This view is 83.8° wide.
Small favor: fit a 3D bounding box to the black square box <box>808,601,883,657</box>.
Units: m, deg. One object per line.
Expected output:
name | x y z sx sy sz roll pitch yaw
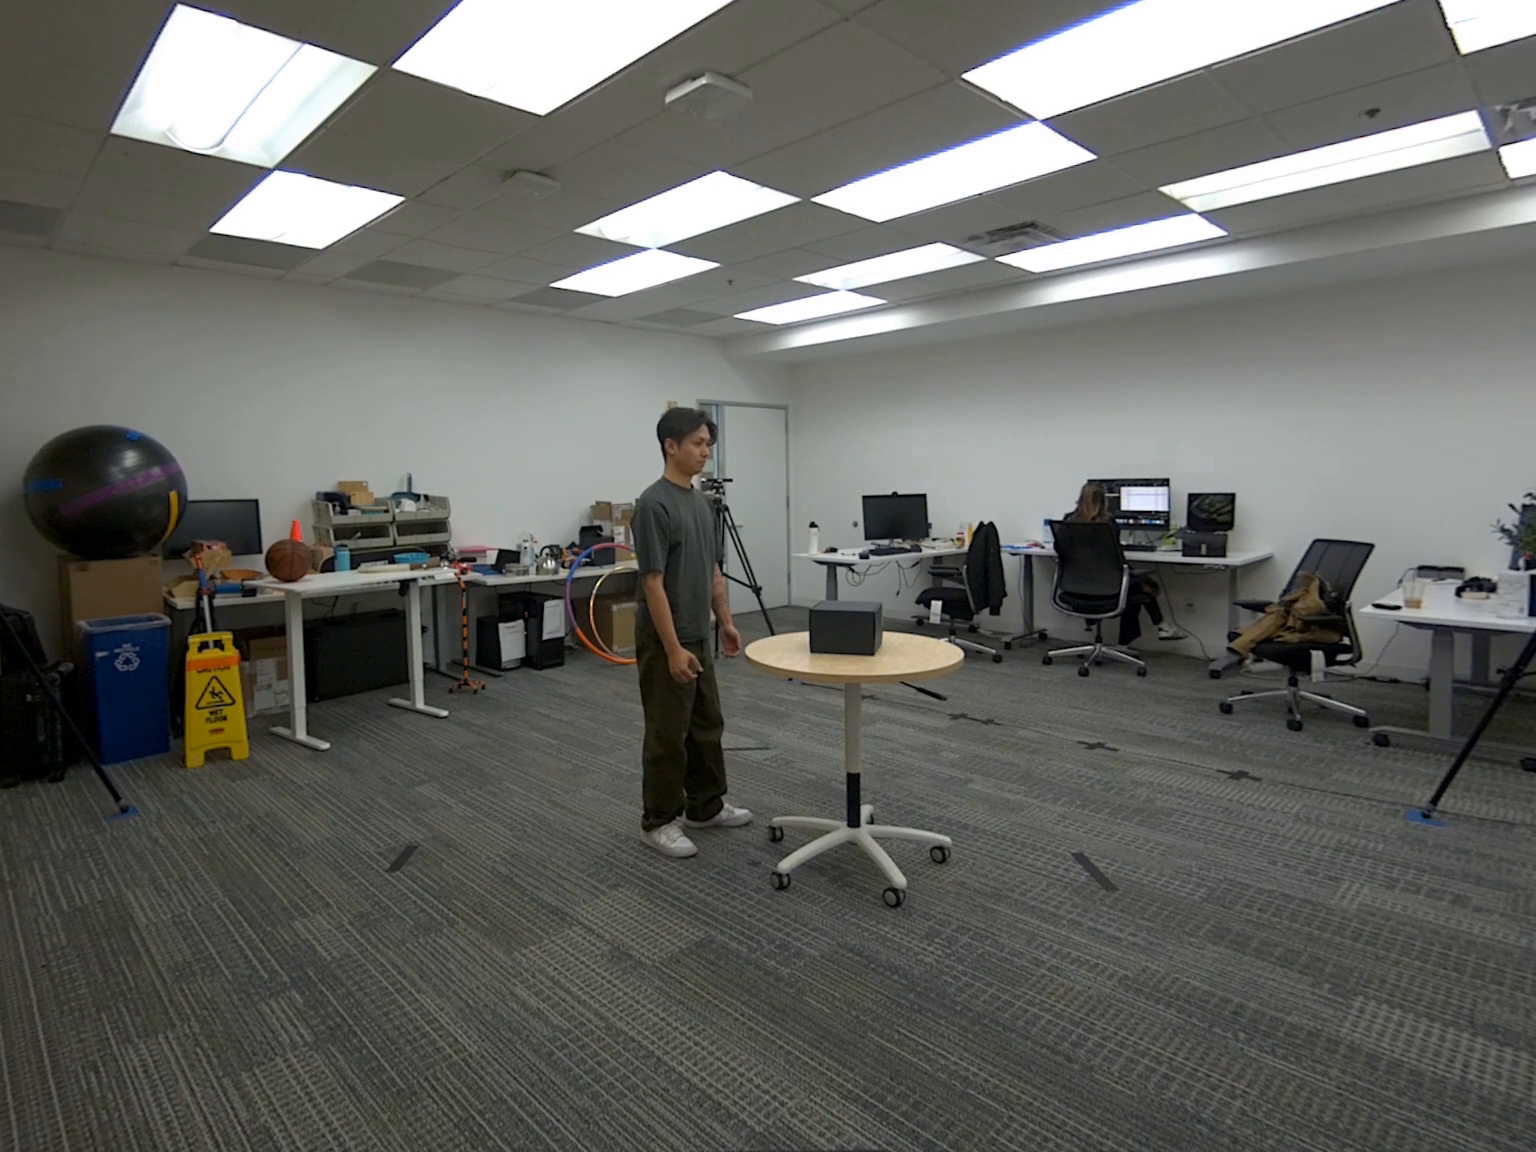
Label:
black square box | 0.282 0.177 3.054 0.232 0.155 0.214 2 7 17
